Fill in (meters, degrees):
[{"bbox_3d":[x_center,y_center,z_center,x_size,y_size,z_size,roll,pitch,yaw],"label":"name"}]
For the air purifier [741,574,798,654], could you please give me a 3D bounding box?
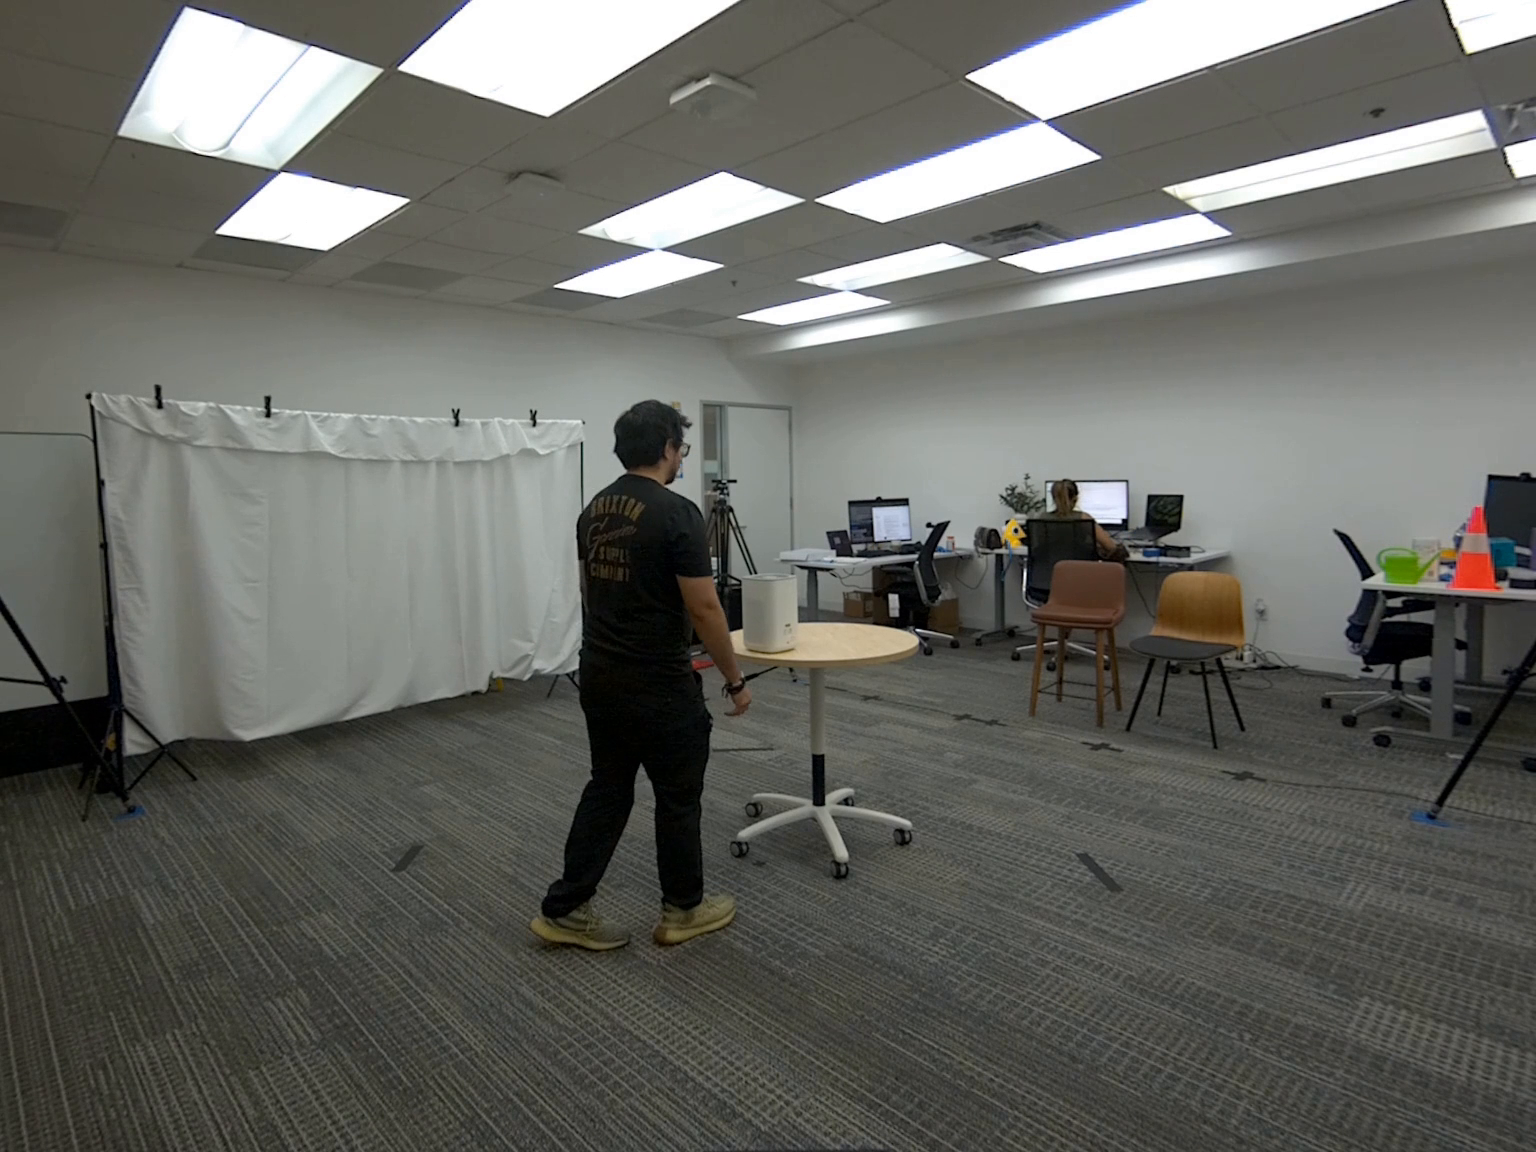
[{"bbox_3d":[0.014,0.131,3.085,0.166,0.264,0.177,-5,5,-44],"label":"air purifier"}]
